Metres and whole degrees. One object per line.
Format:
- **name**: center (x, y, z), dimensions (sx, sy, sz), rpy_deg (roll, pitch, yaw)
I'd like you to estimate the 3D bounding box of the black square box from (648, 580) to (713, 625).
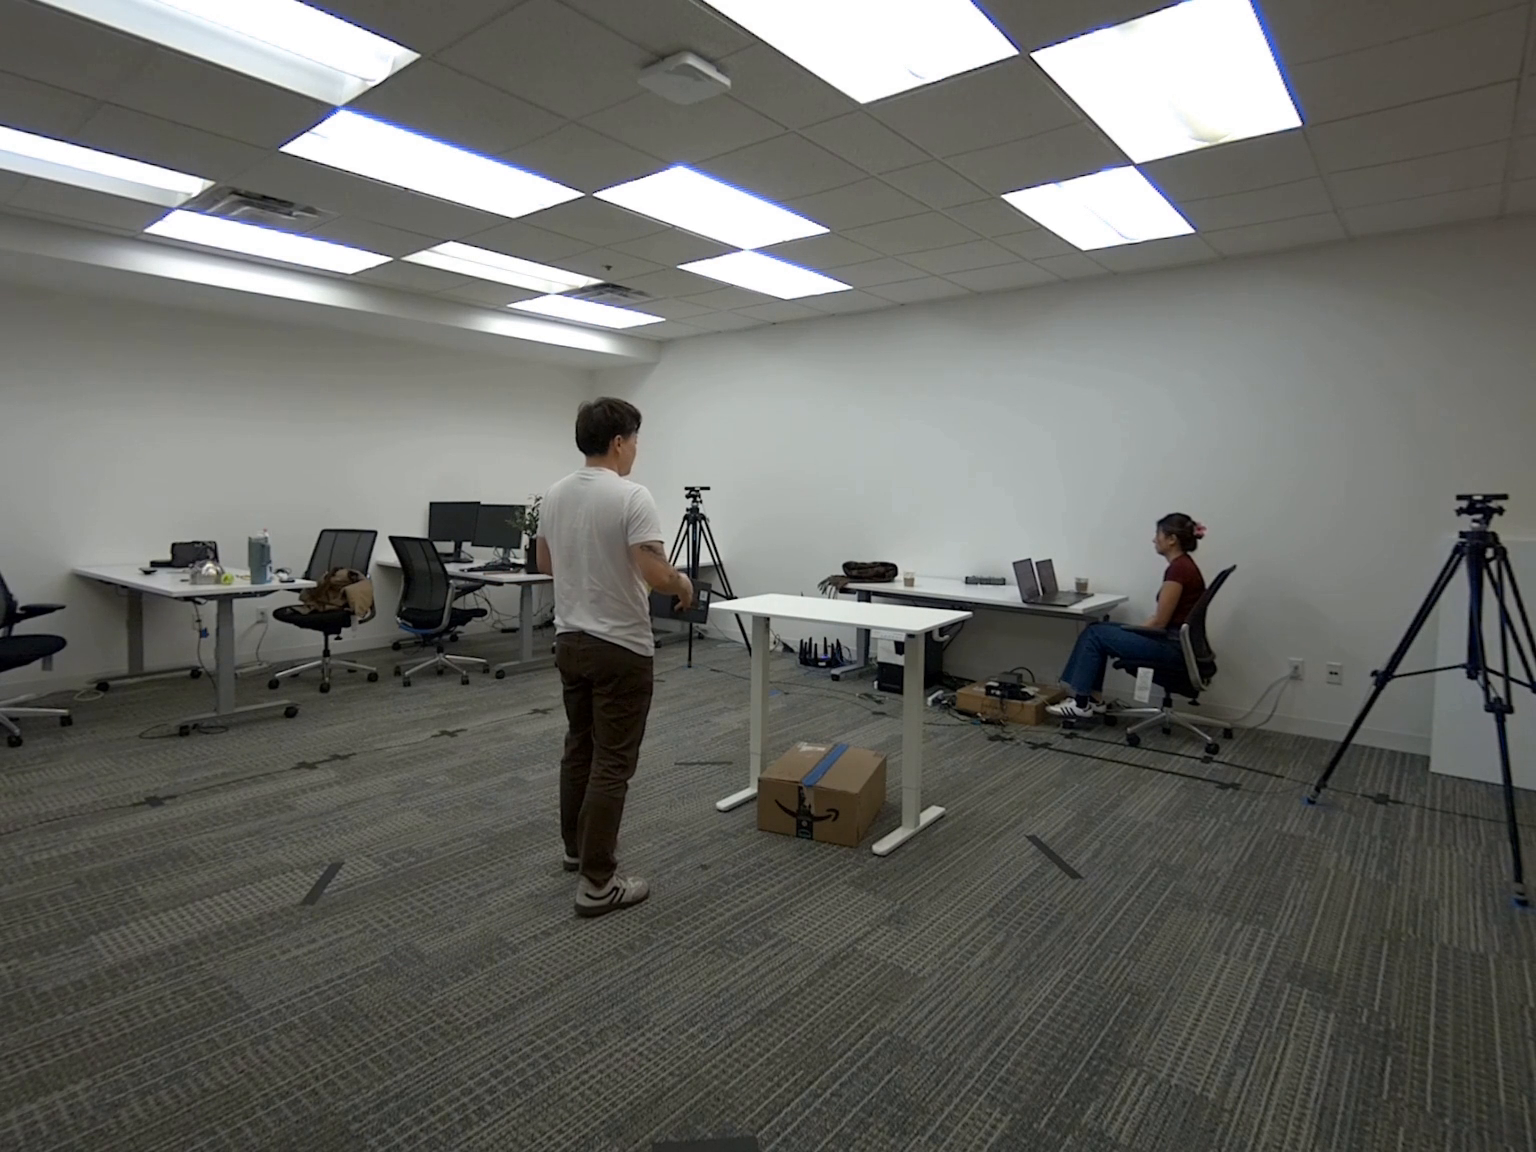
- **black square box**: center (-0.380, 0.083, 3.198), dimensions (0.235, 0.157, 0.209), rpy_deg (3, -7, 37)
